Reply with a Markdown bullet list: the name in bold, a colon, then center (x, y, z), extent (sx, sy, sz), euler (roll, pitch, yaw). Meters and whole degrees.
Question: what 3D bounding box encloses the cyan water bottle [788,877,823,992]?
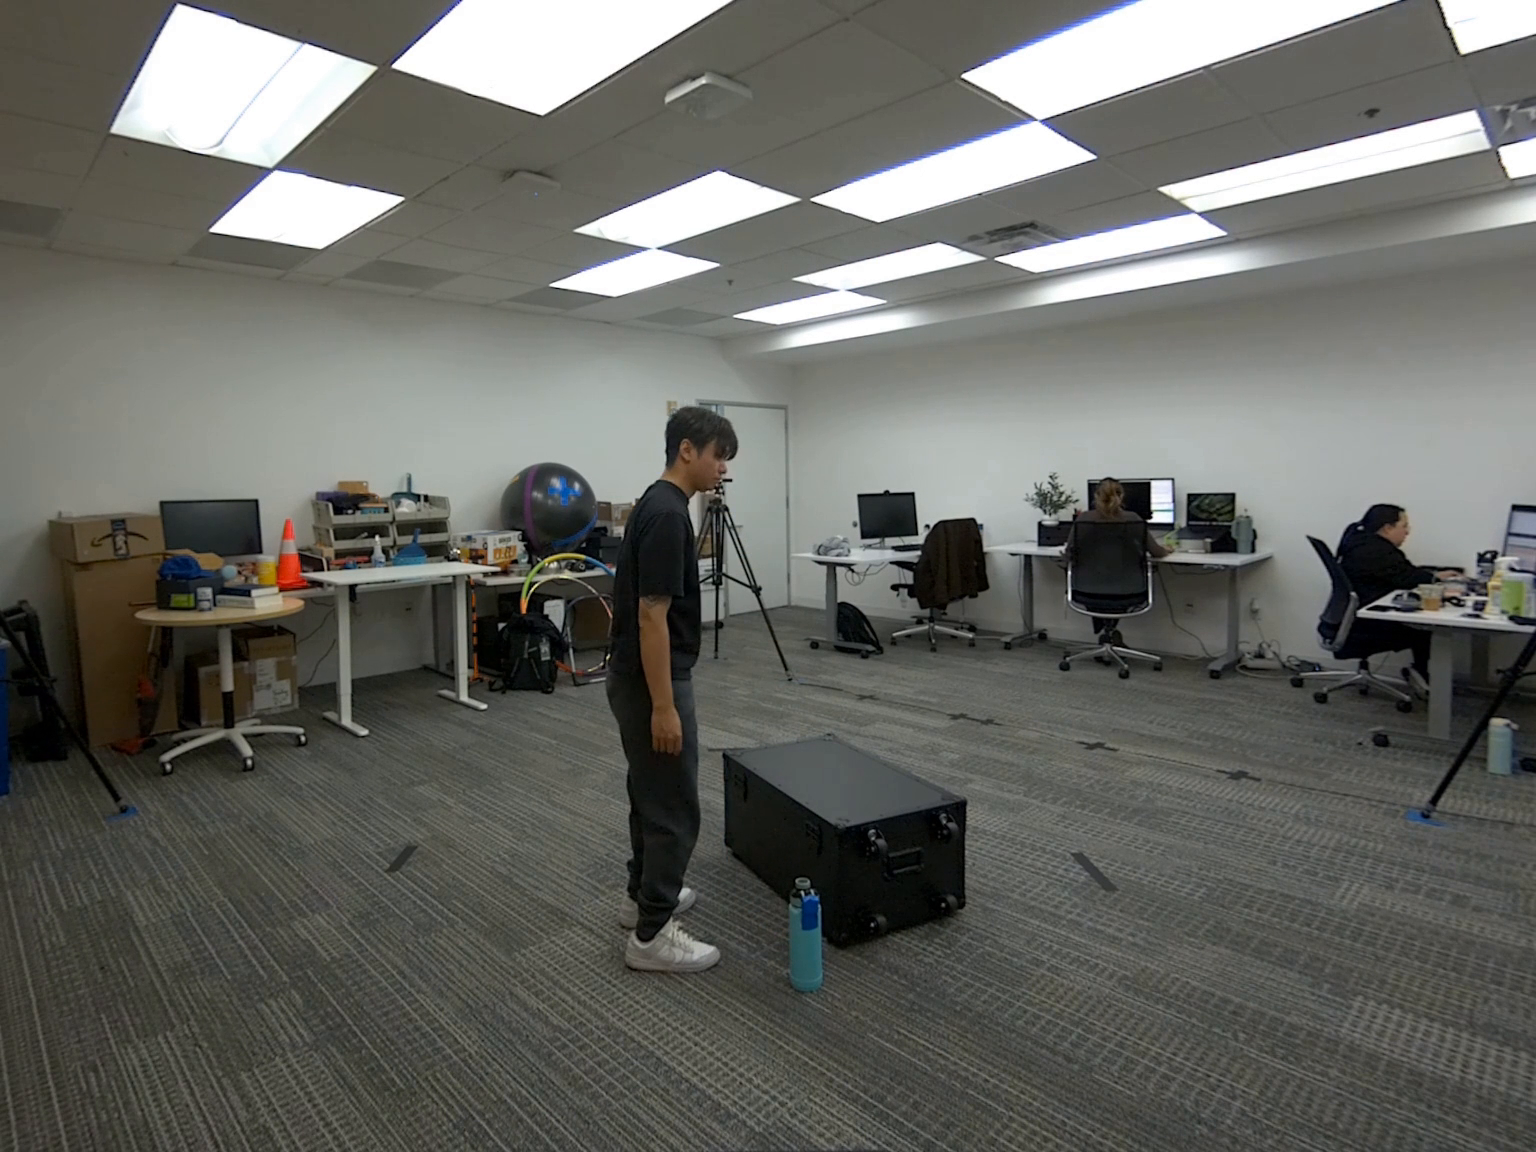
- **cyan water bottle**: center (0.096, 0.983, 2.359), extent (0.092, 0.282, 0.093), euler (0, 6, -2)
